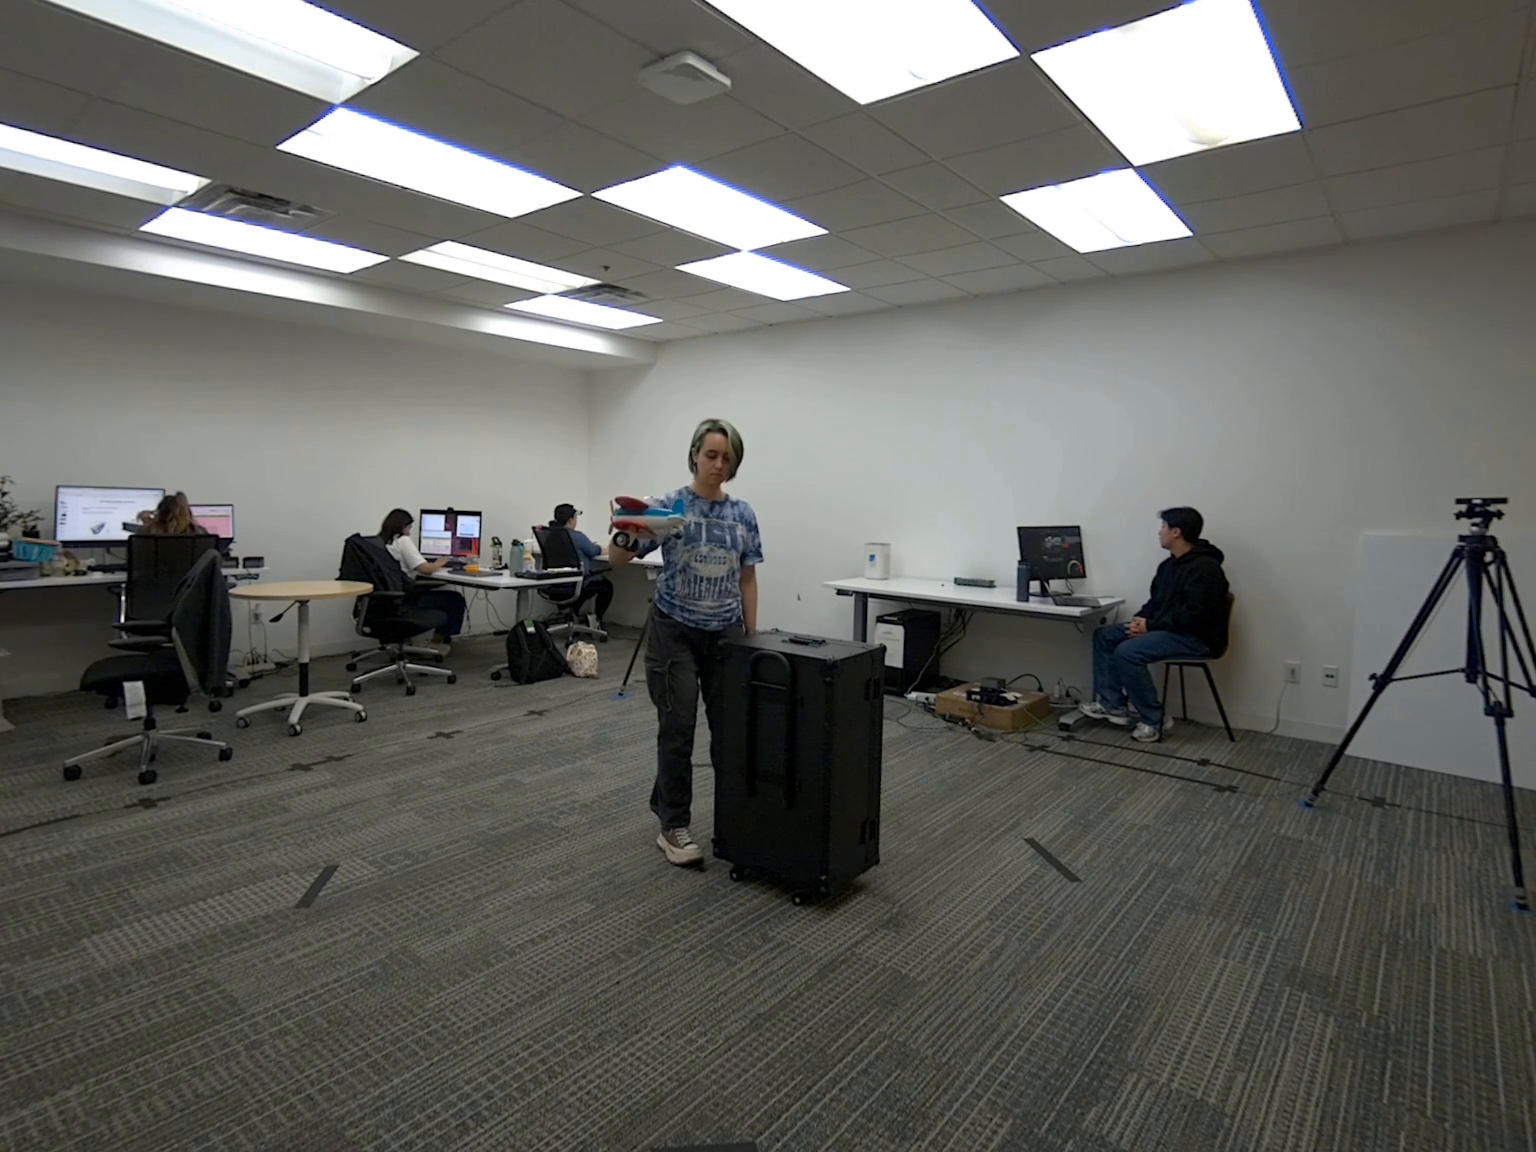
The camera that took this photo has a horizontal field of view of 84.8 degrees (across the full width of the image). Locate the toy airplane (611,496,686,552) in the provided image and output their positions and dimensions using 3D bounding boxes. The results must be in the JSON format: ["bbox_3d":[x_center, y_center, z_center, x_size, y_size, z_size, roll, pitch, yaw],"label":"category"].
[{"bbox_3d":[-0.393,-0.176,2.826,0.256,0.159,0.250,-7,-13,-15],"label":"toy airplane"}]
